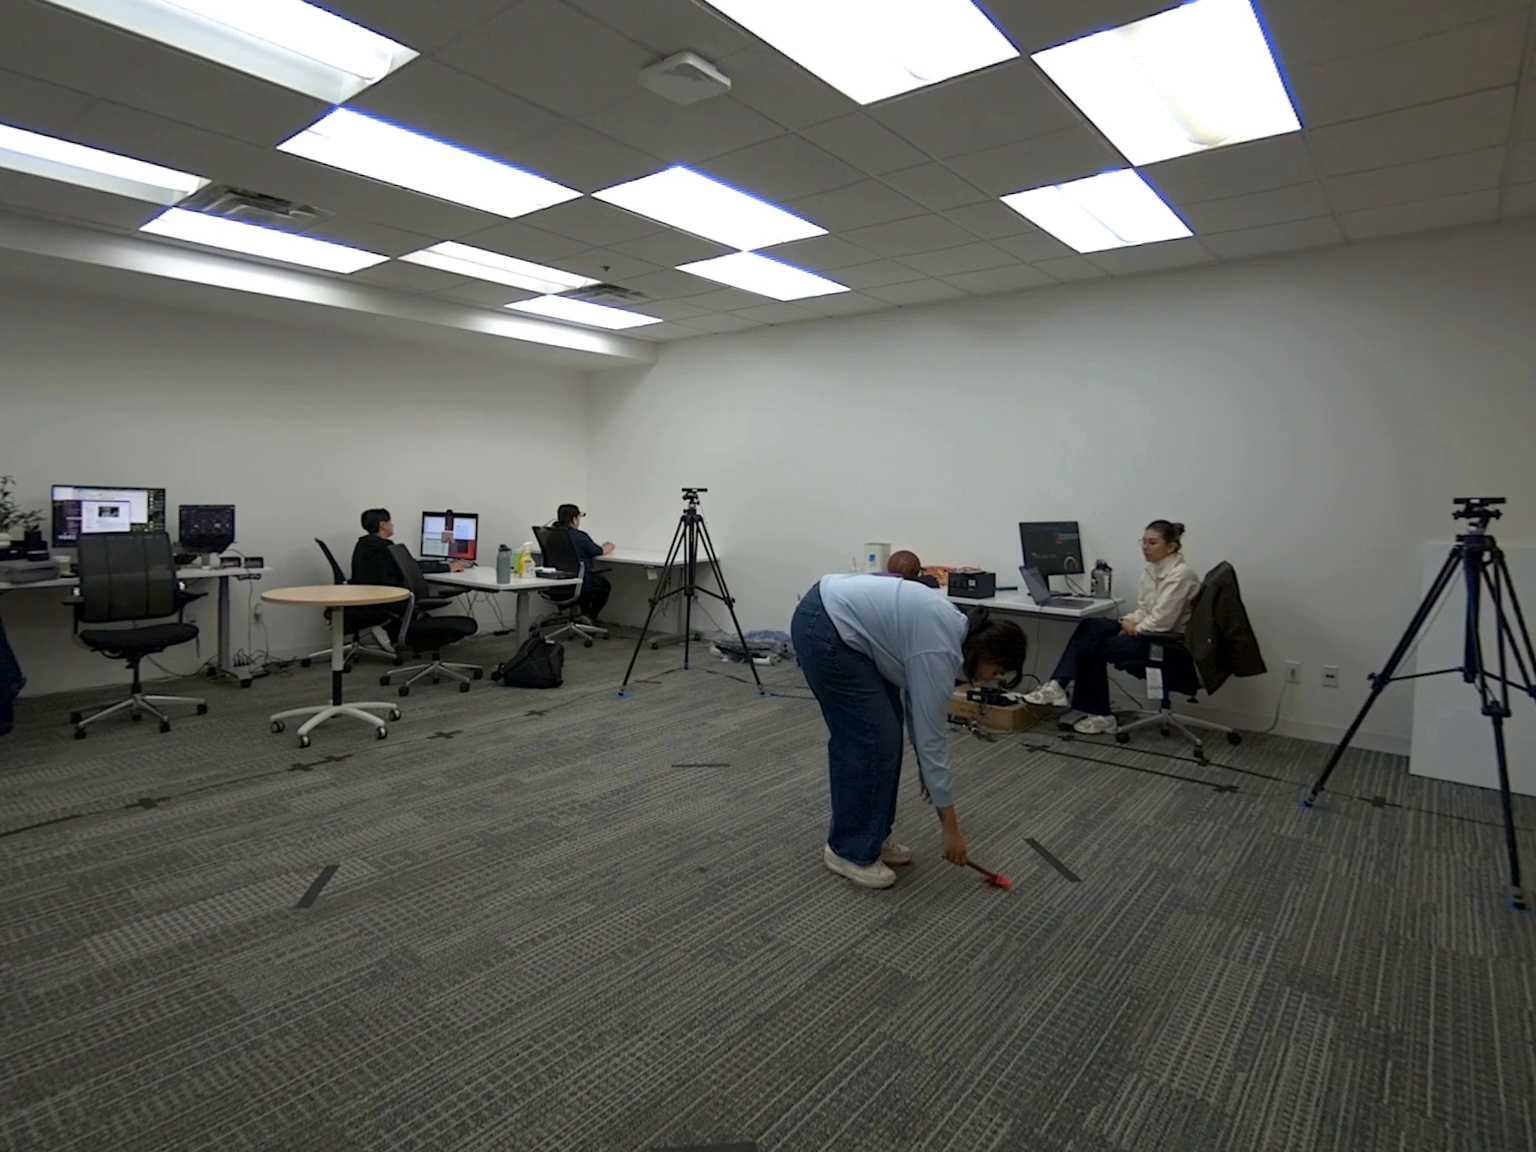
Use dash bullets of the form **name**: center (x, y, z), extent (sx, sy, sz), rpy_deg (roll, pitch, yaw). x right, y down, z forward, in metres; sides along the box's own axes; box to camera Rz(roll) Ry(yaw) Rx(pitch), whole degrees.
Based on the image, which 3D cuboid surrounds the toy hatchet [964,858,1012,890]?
- **toy hatchet**: center (0.731, 1.036, 3.039), extent (0.268, 0.030, 0.131), rpy_deg (28, -14, -5)
